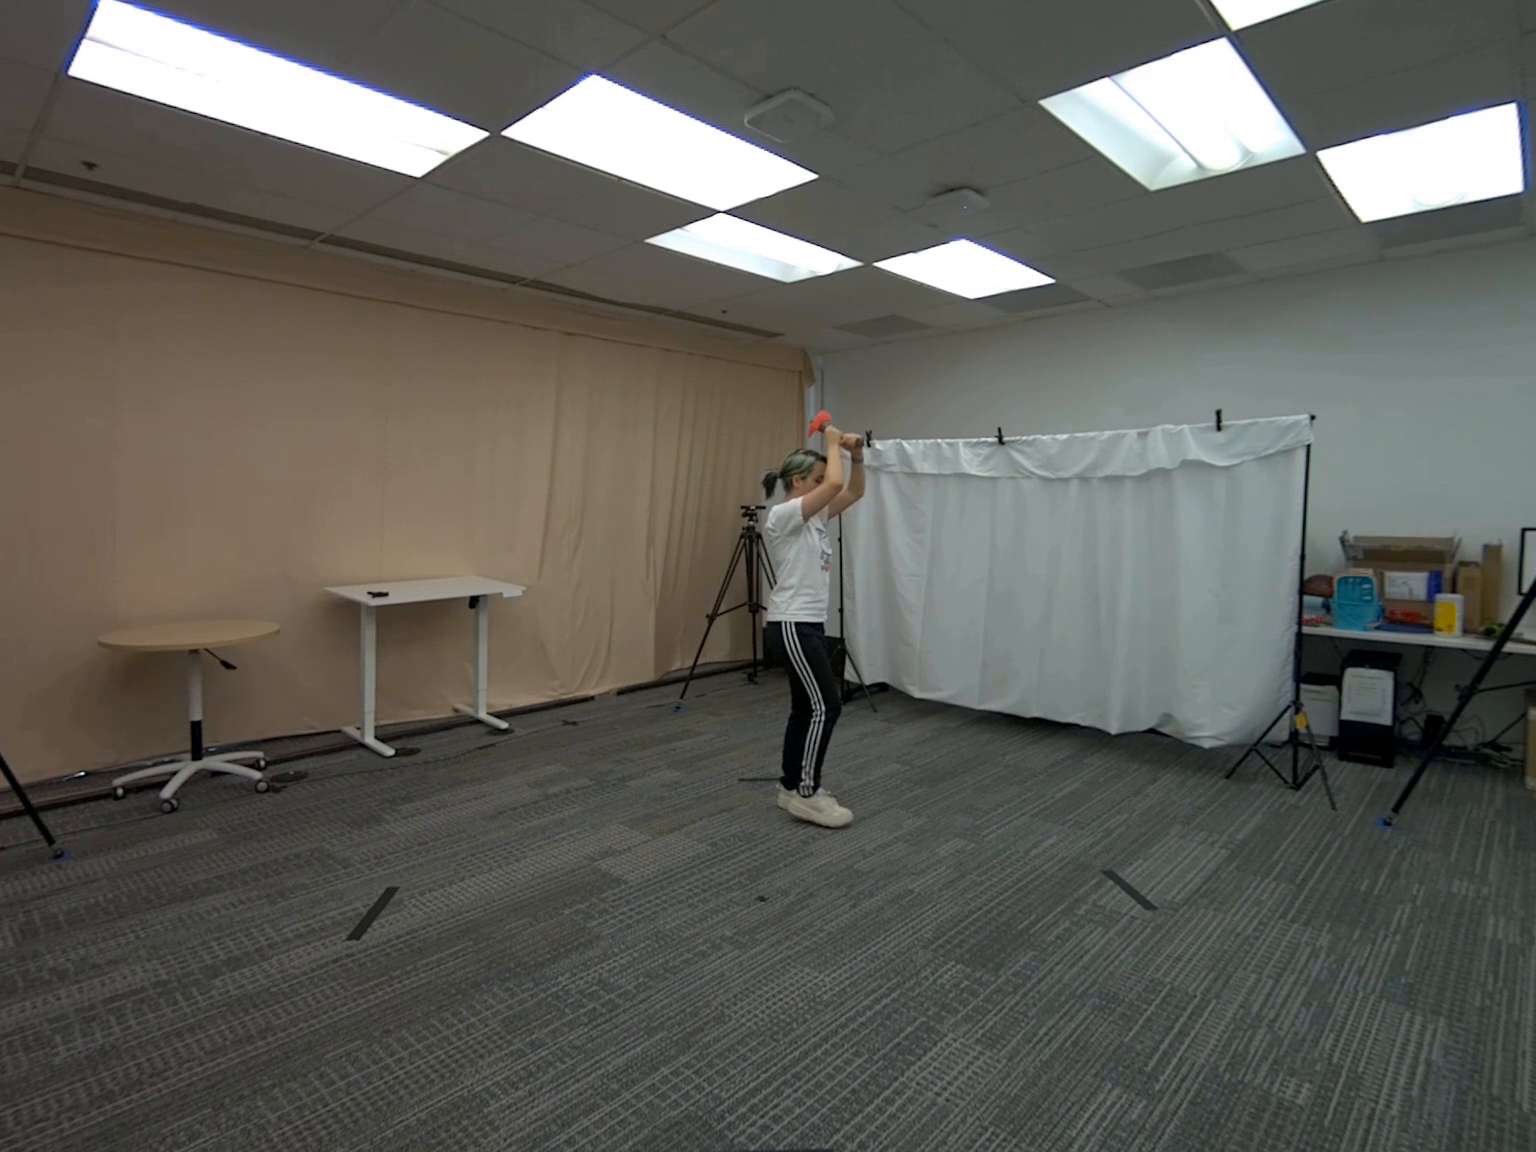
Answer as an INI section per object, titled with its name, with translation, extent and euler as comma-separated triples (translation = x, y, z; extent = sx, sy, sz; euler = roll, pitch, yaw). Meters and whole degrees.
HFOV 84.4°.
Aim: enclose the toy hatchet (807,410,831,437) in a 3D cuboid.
[toy hatchet]
translation = 0.302, -0.651, 3.708
extent = 0.277, 0.131, 0.029
euler = 13, 3, 24
